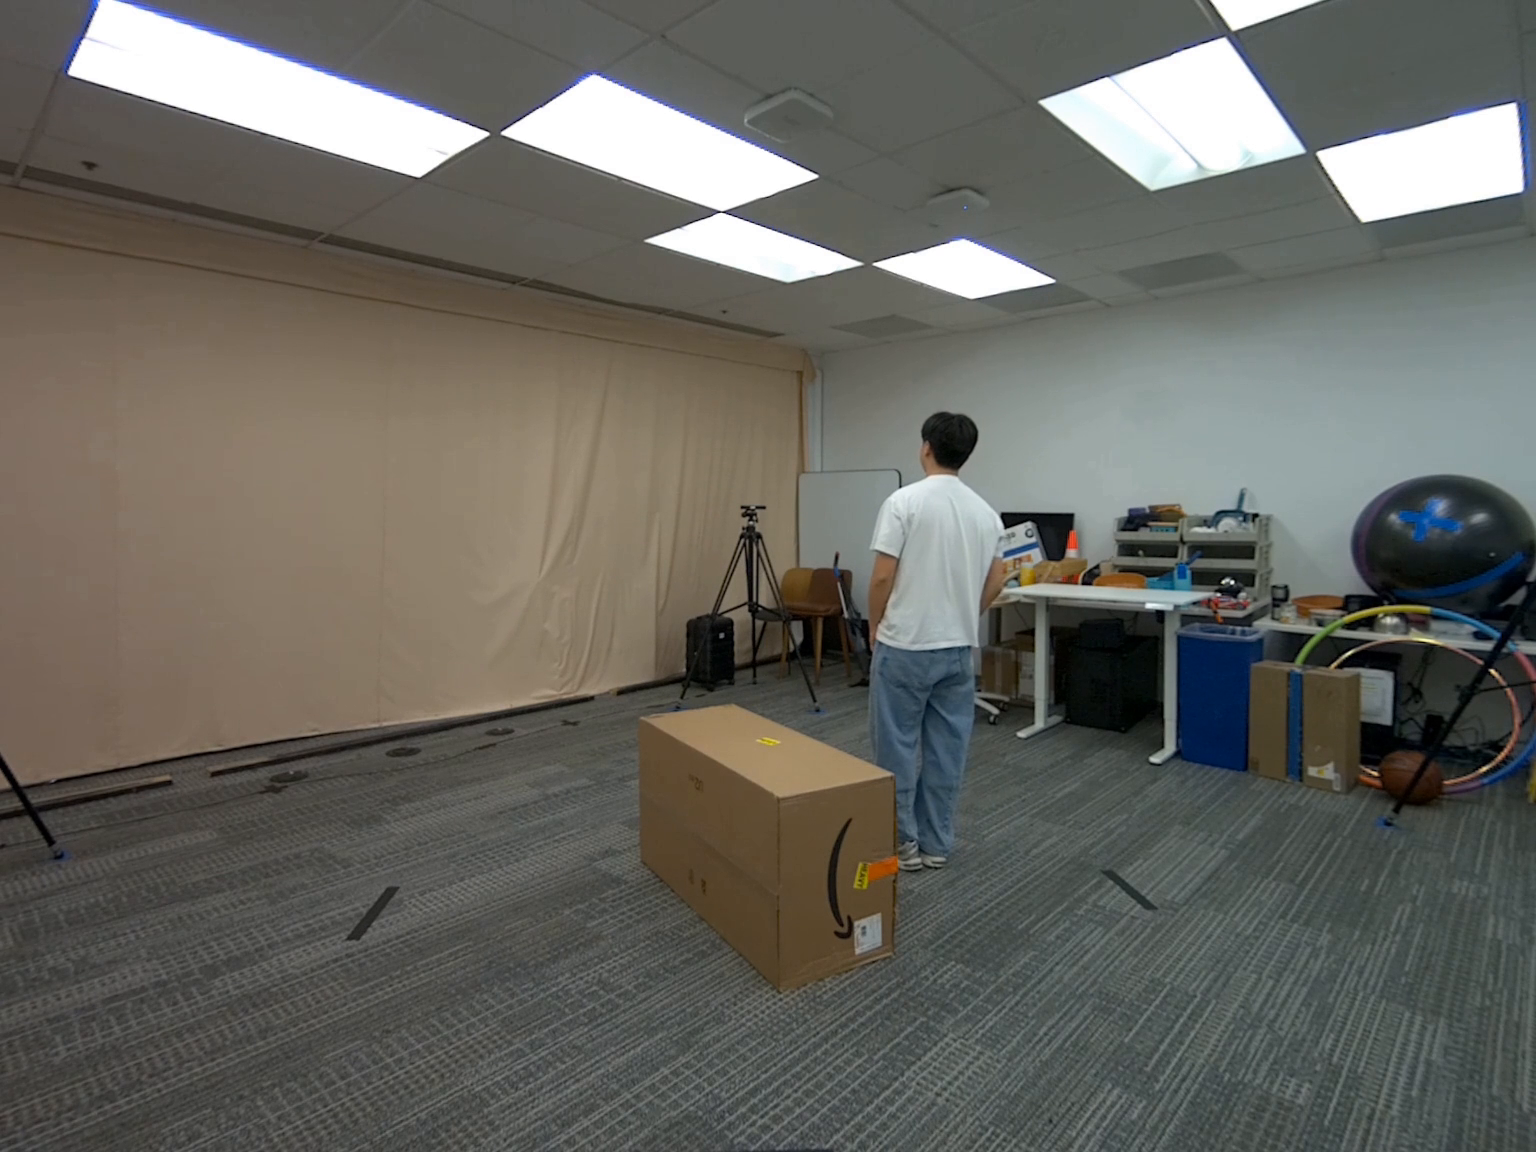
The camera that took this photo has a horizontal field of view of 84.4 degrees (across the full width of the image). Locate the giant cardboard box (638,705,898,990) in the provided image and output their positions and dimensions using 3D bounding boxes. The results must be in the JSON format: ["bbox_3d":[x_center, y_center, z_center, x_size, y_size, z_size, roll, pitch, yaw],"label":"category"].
[{"bbox_3d":[-0.050,0.860,2.936,0.415,0.576,1.056,-2,5,-30],"label":"giant cardboard box"}]
